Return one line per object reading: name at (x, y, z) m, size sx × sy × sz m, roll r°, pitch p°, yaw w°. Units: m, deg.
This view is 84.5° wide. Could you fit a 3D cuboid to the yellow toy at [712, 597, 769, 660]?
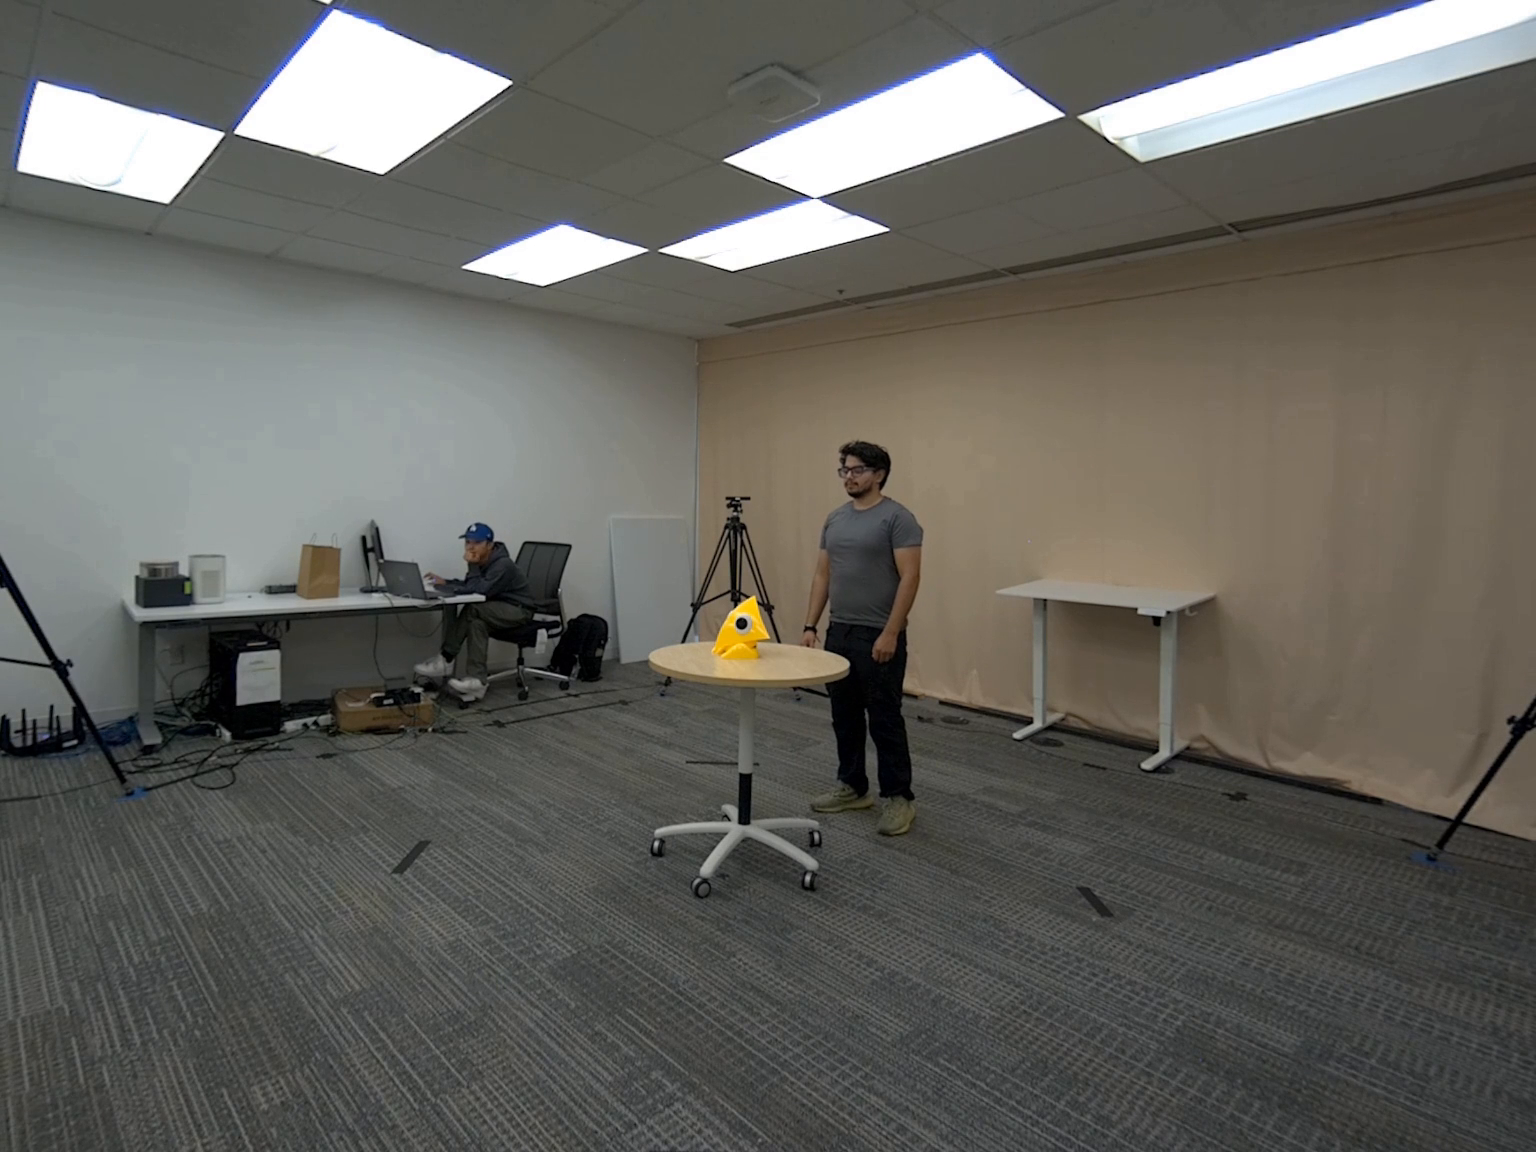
yellow toy at (-0.120, 0.195, 3.284) m, size 0.190 × 0.230 × 0.208 m, roll 0°, pitch 4°, yaw -20°
